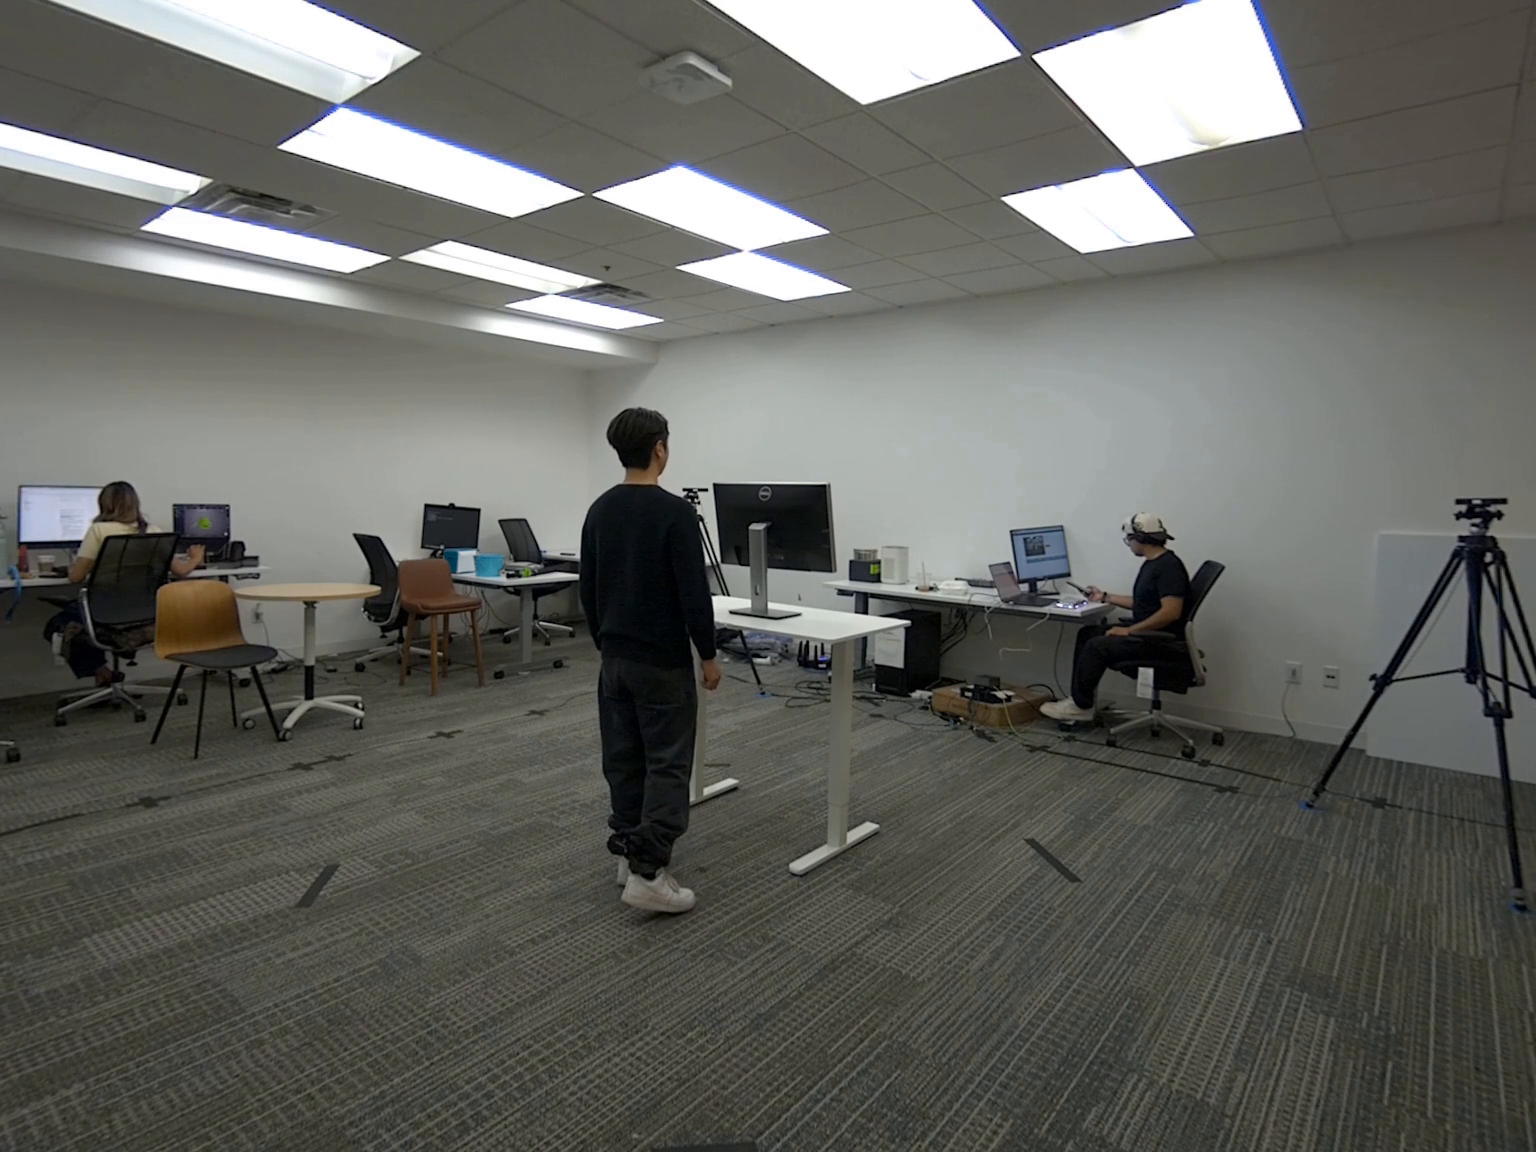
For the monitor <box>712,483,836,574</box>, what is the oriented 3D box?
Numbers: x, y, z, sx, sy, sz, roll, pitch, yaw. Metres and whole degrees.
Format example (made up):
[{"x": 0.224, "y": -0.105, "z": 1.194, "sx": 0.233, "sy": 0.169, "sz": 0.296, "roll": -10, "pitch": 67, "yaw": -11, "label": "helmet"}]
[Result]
[{"x": -0.010, "y": -0.115, "z": 3.482, "sx": 0.546, "sy": 0.517, "sz": 0.169, "roll": 1, "pitch": -3, "yaw": 34, "label": "monitor"}]
